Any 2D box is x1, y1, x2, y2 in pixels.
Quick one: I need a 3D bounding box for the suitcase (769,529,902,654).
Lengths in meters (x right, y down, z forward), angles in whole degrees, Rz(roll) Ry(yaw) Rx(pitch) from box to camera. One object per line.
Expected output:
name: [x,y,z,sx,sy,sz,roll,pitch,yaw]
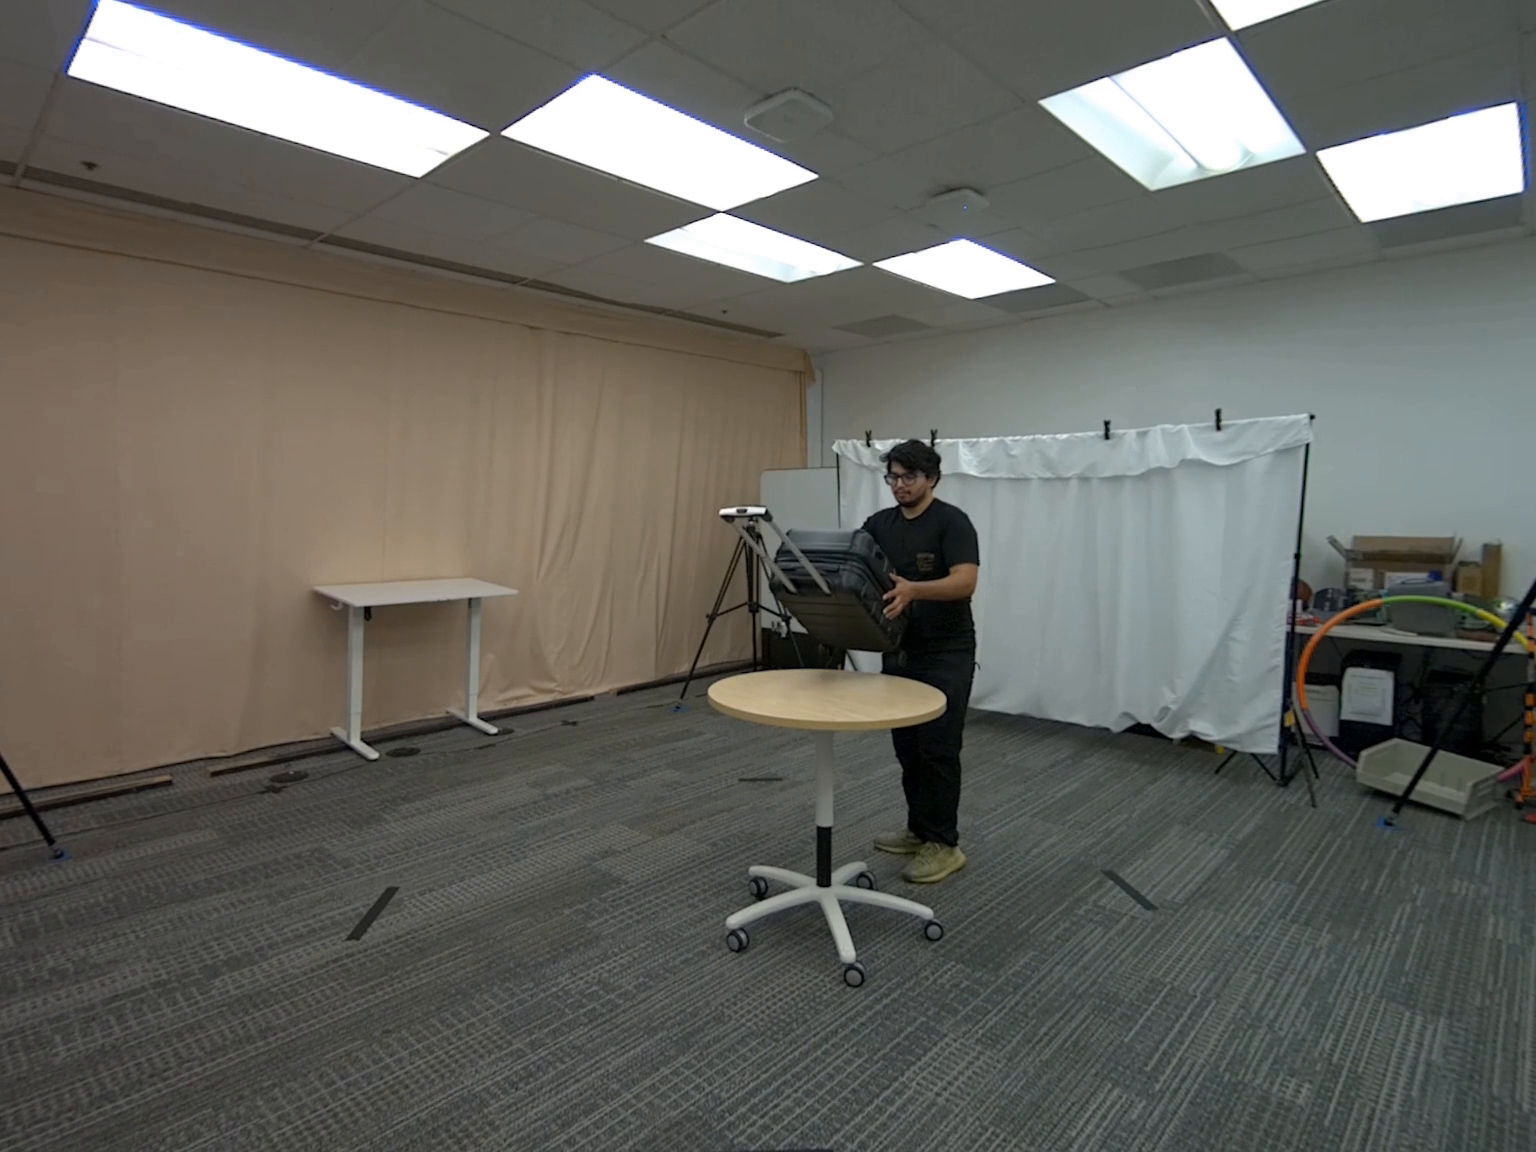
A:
suitcase: [0.180,-0.044,2.829,0.396,0.258,0.945,3,-31,33]
